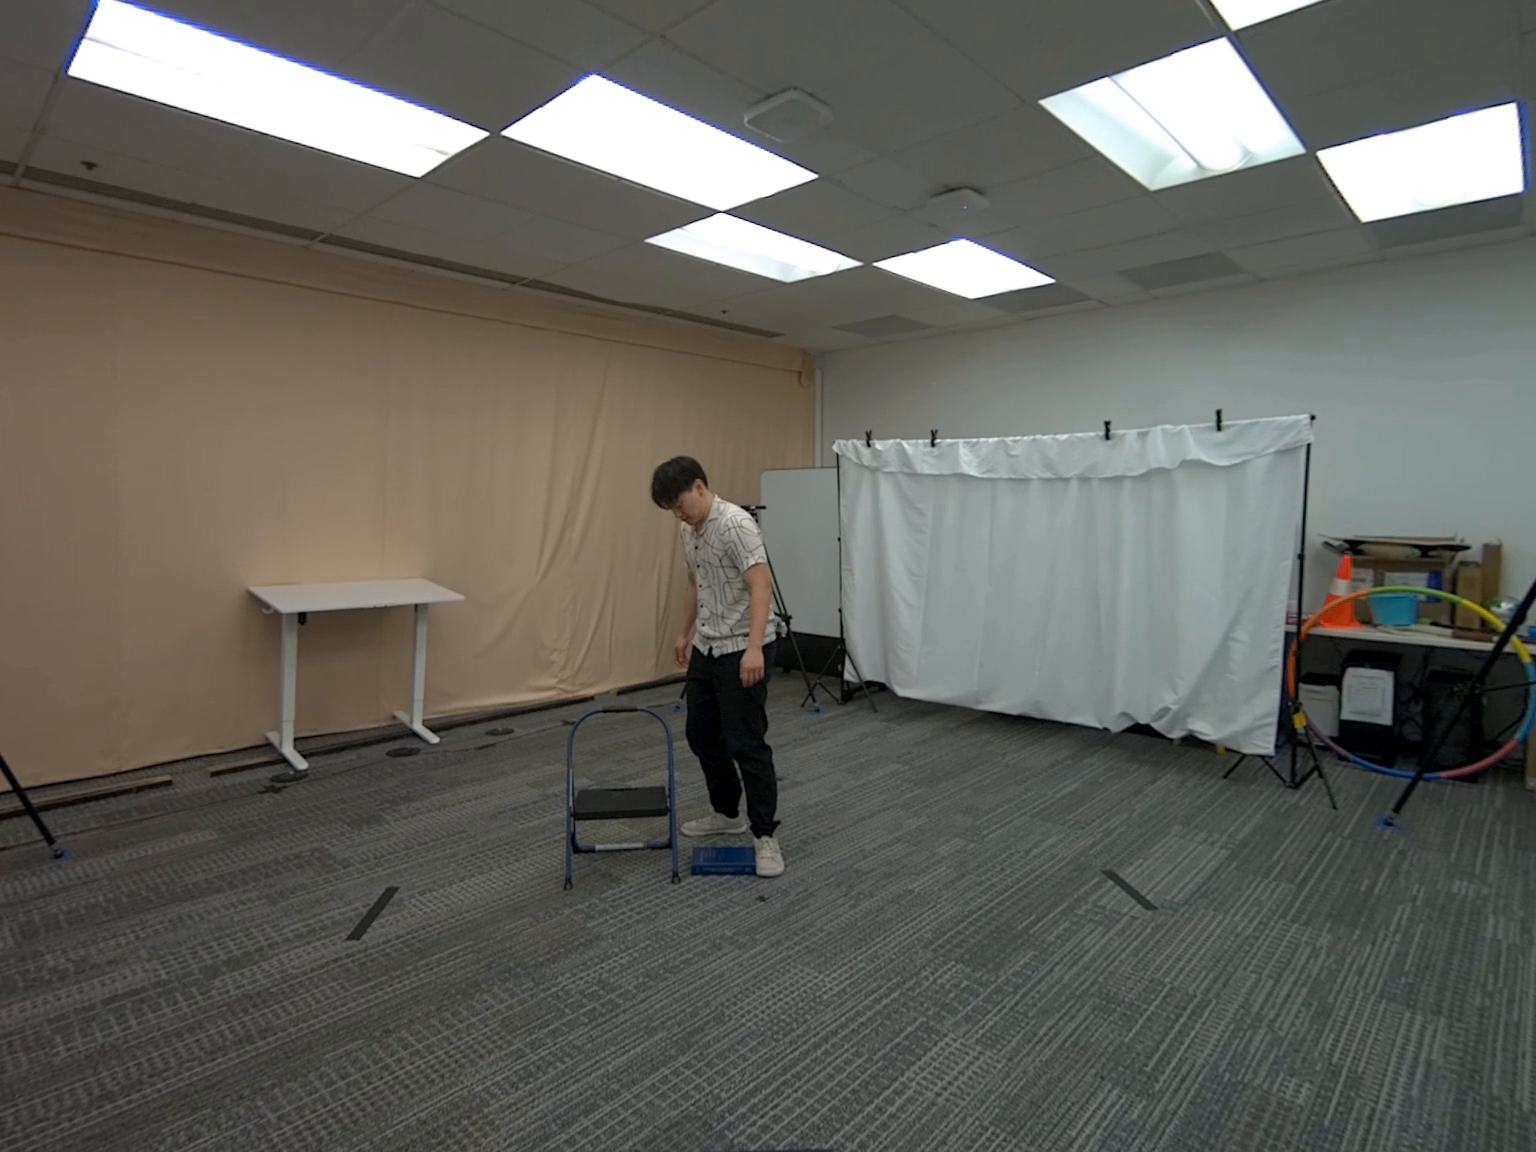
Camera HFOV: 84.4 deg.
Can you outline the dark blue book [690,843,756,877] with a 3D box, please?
[{"bbox_3d":[-0.170,1.107,3.252,0.245,0.045,0.164,0,5,0],"label":"dark blue book"}]
